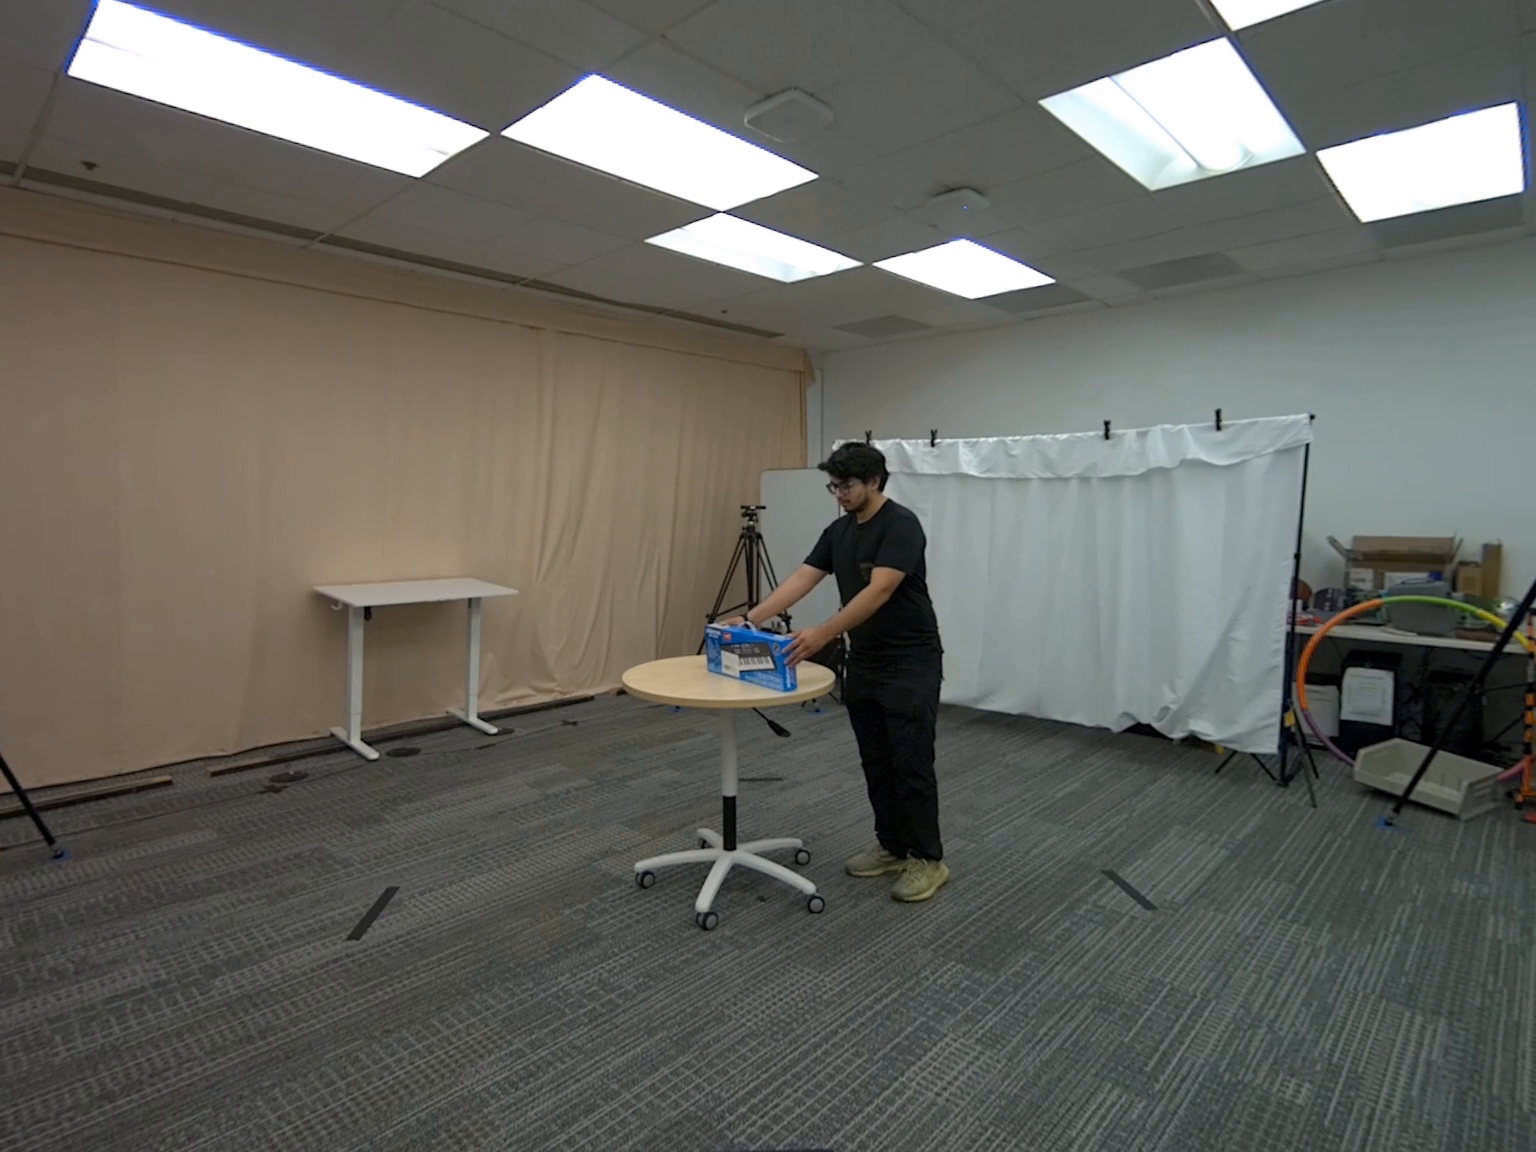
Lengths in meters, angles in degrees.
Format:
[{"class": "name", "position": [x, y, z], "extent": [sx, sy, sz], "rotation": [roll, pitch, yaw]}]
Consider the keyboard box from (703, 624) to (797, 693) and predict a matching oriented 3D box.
[{"class": "keyboard box", "position": [-0.059, 0.279, 2.944], "extent": [0.057, 0.175, 0.451], "rotation": [-7, 8, -36]}]
